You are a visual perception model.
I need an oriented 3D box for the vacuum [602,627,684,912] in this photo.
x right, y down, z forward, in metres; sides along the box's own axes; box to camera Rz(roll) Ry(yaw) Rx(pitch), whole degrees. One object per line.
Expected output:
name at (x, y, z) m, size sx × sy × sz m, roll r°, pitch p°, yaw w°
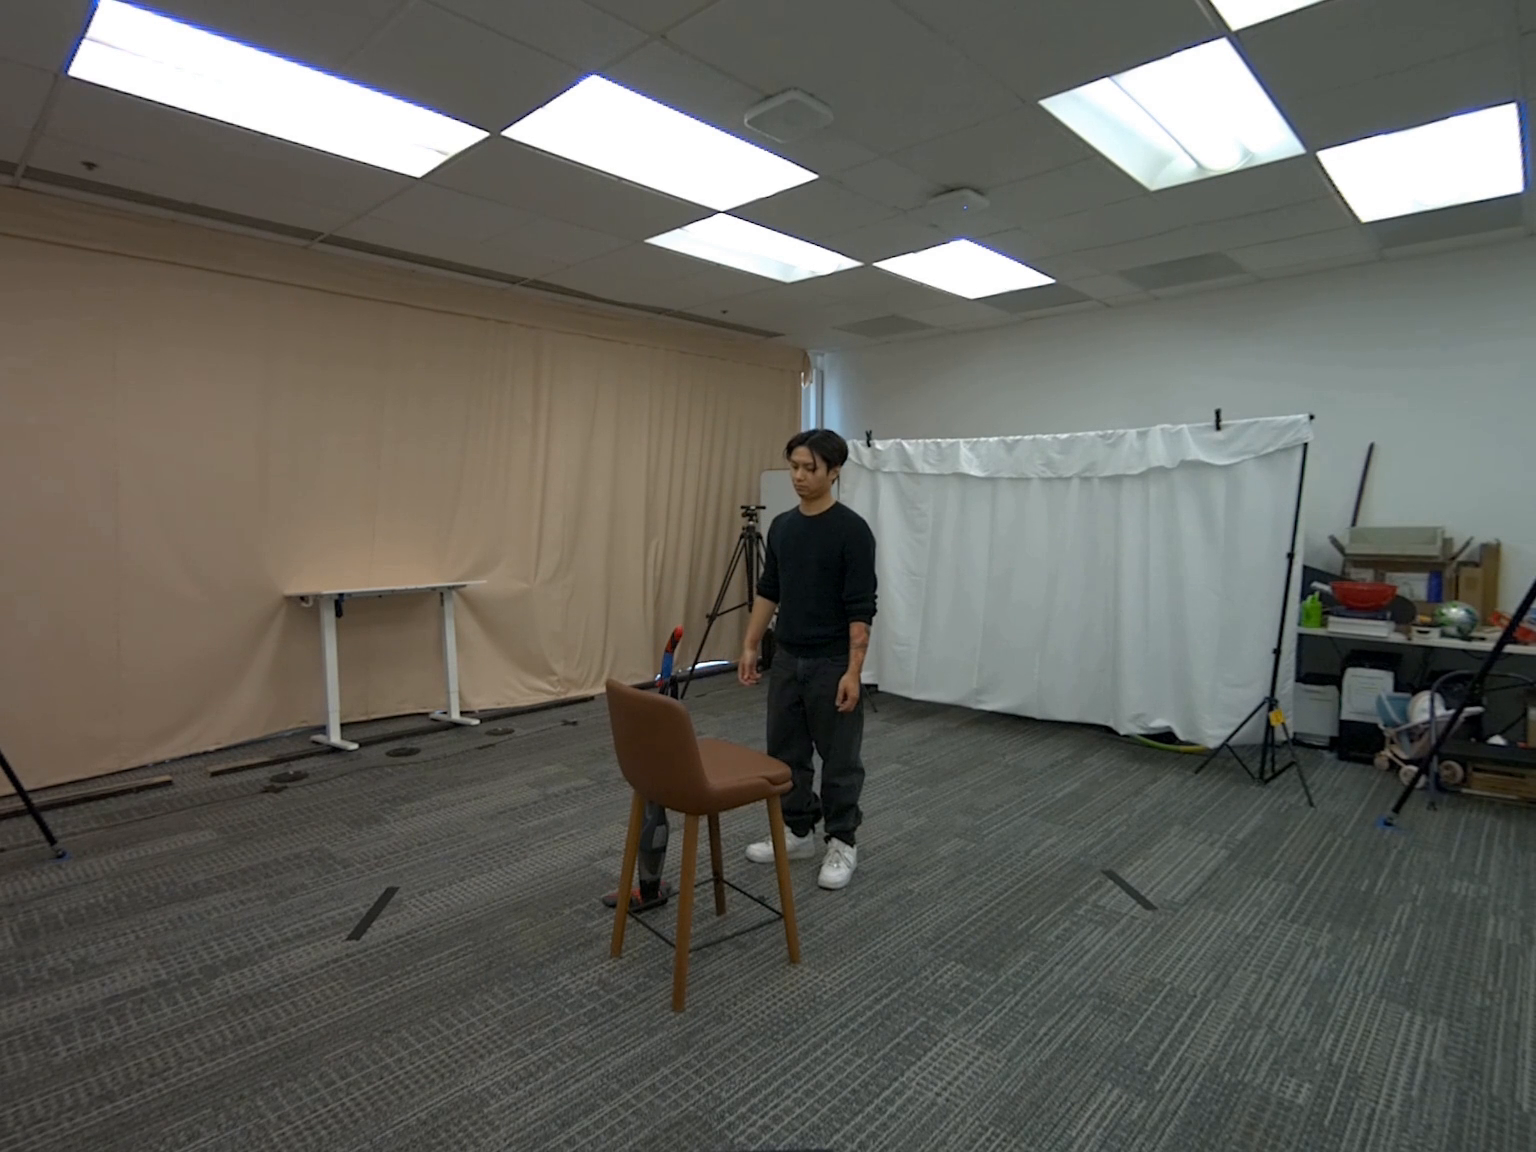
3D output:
vacuum at (-0.364, 0.659, 2.803) m, size 0.245 × 1.041 × 0.149 m, roll -2°, pitch 21°, yaw -33°
